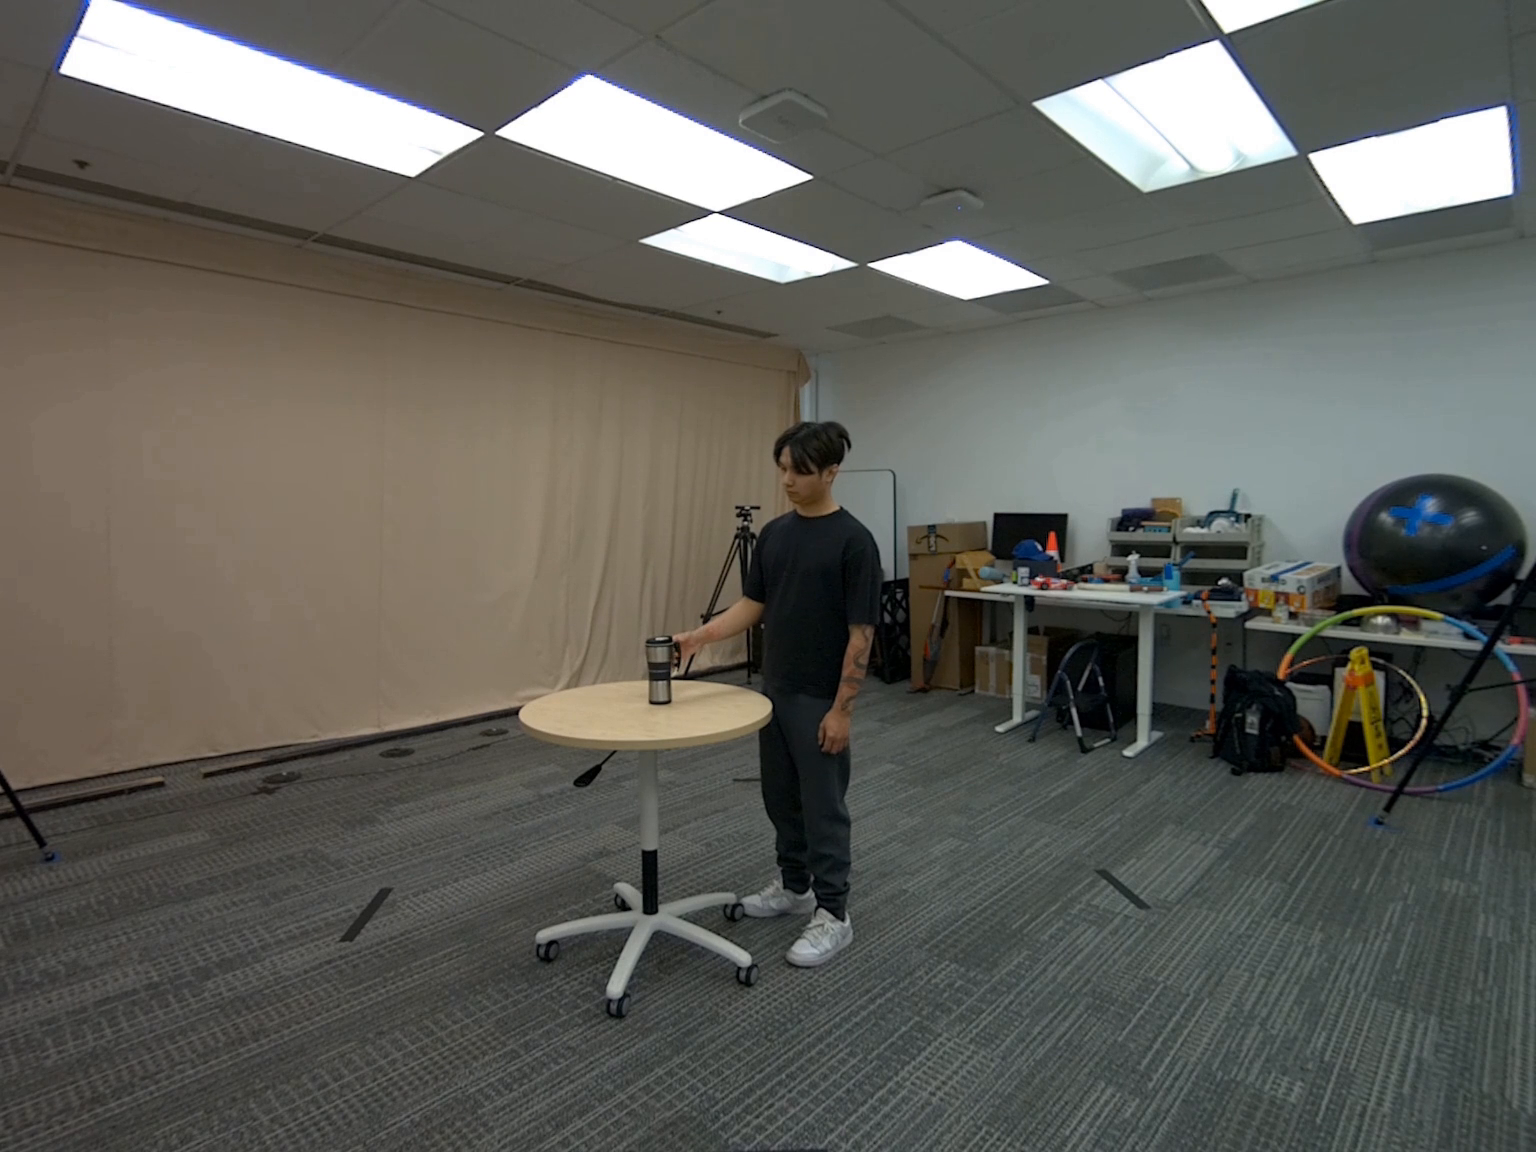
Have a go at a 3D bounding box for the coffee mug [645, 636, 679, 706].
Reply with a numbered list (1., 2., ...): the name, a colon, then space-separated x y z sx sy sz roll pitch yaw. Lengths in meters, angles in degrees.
1. coffee mug: -0.312 0.296 2.622 0.119 0.203 0.090 -5 1 -30
